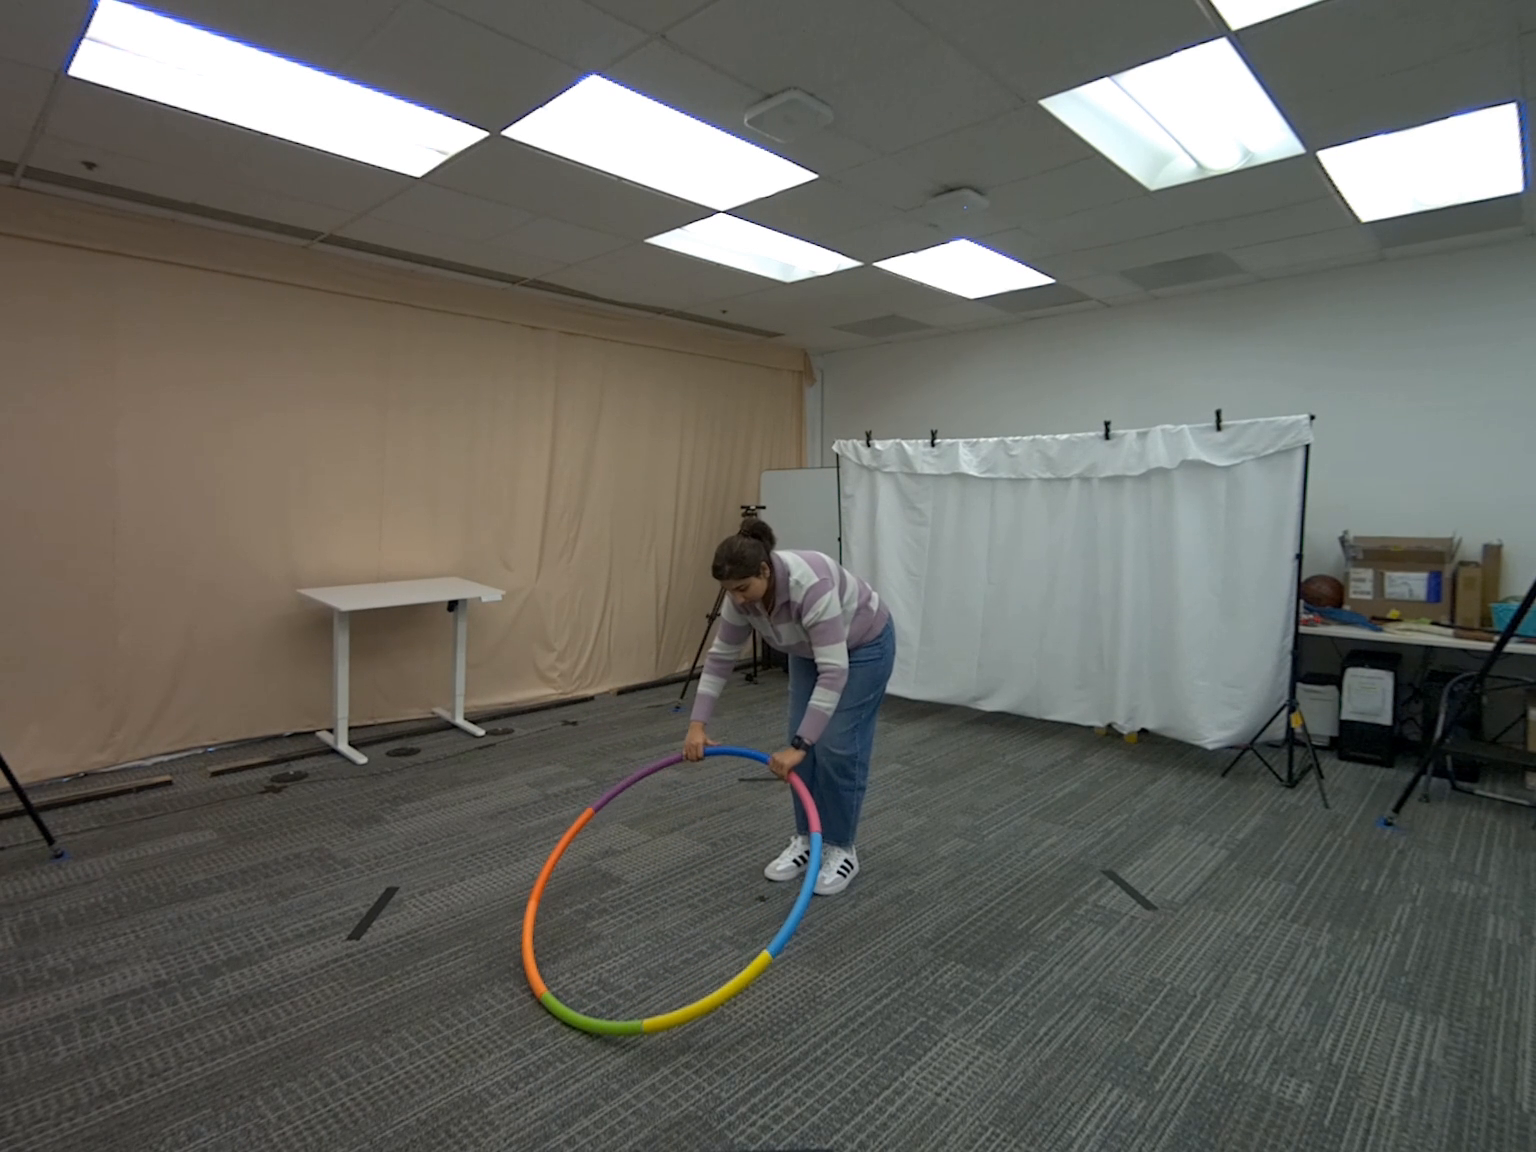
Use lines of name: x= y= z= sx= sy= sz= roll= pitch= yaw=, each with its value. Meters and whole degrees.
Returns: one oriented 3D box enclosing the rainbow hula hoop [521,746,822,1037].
rainbow hula hoop: x=-0.300 y=0.888 z=2.556 sx=0.987 sy=0.034 sz=0.995 roll=-22 pitch=29 yaw=10
